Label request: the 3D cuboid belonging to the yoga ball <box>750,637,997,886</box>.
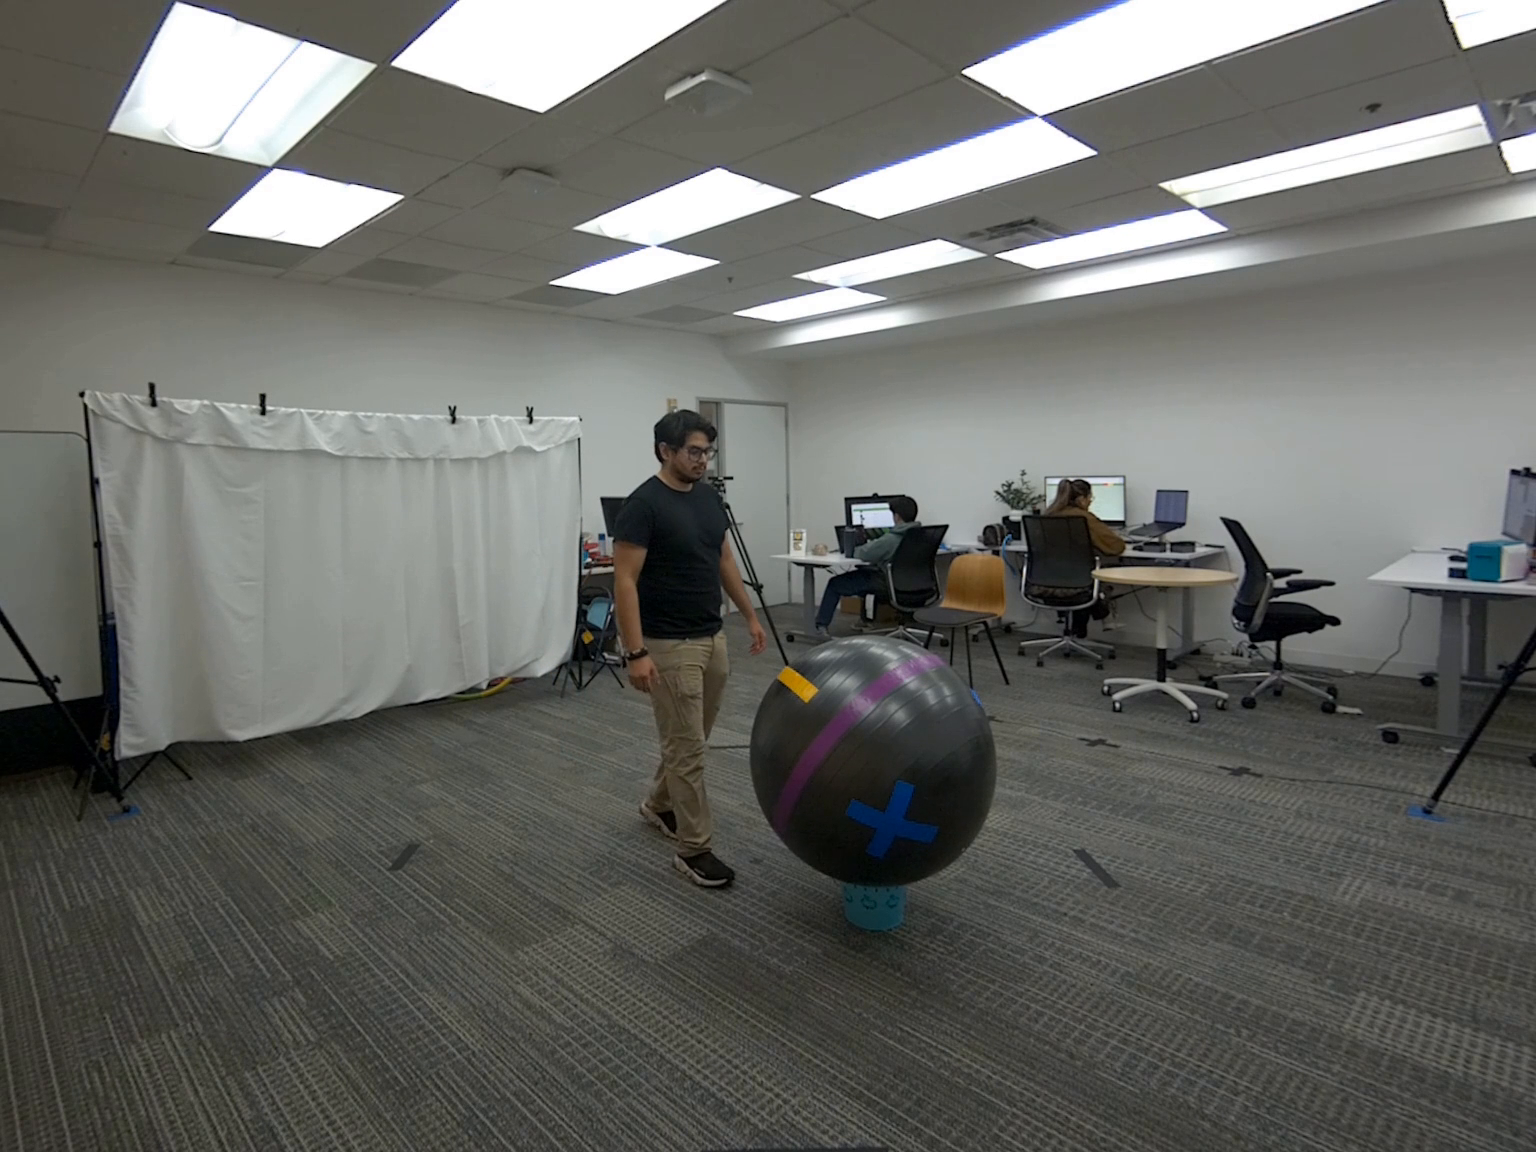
[{"bbox_3d":[0.323,0.570,2.674,0.757,0.755,0.762,-1,5,-2],"label":"yoga ball"}]
